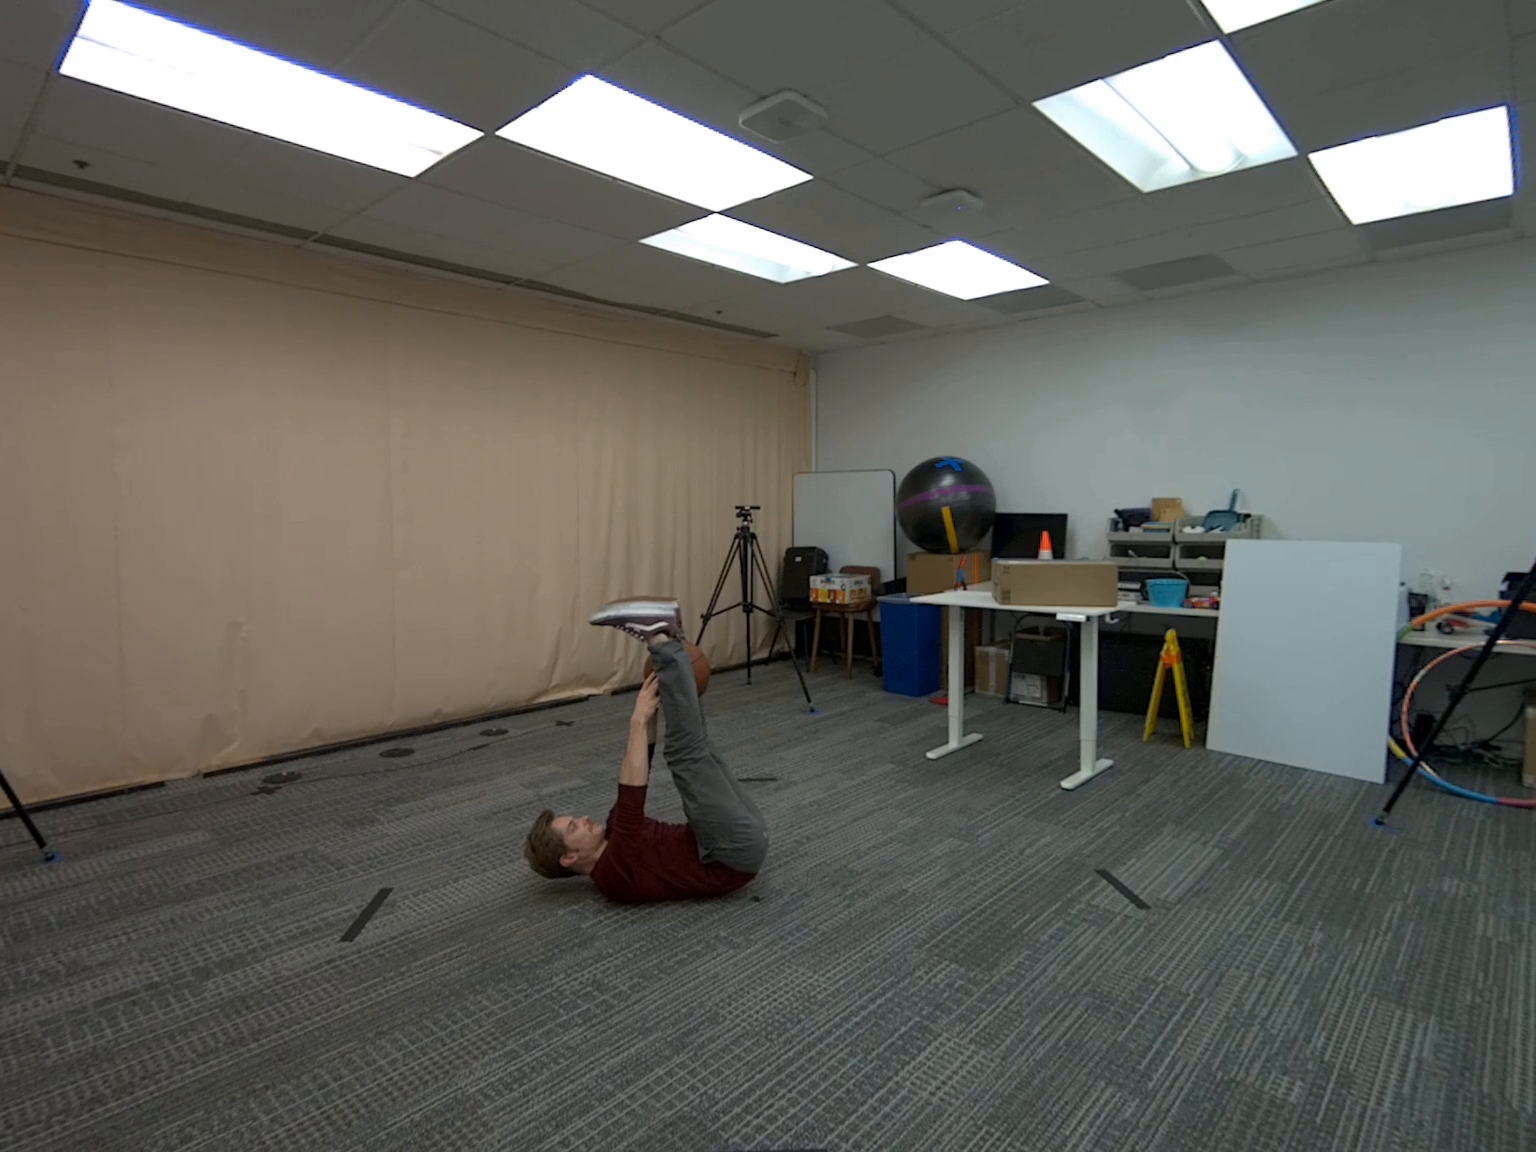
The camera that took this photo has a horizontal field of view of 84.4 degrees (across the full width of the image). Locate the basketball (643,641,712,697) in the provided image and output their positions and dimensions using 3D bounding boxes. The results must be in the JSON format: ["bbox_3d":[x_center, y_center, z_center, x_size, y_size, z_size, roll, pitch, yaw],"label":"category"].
[{"bbox_3d":[-0.324,0.348,3.030,0.236,0.235,0.237,0,4,-2],"label":"basketball"}]
